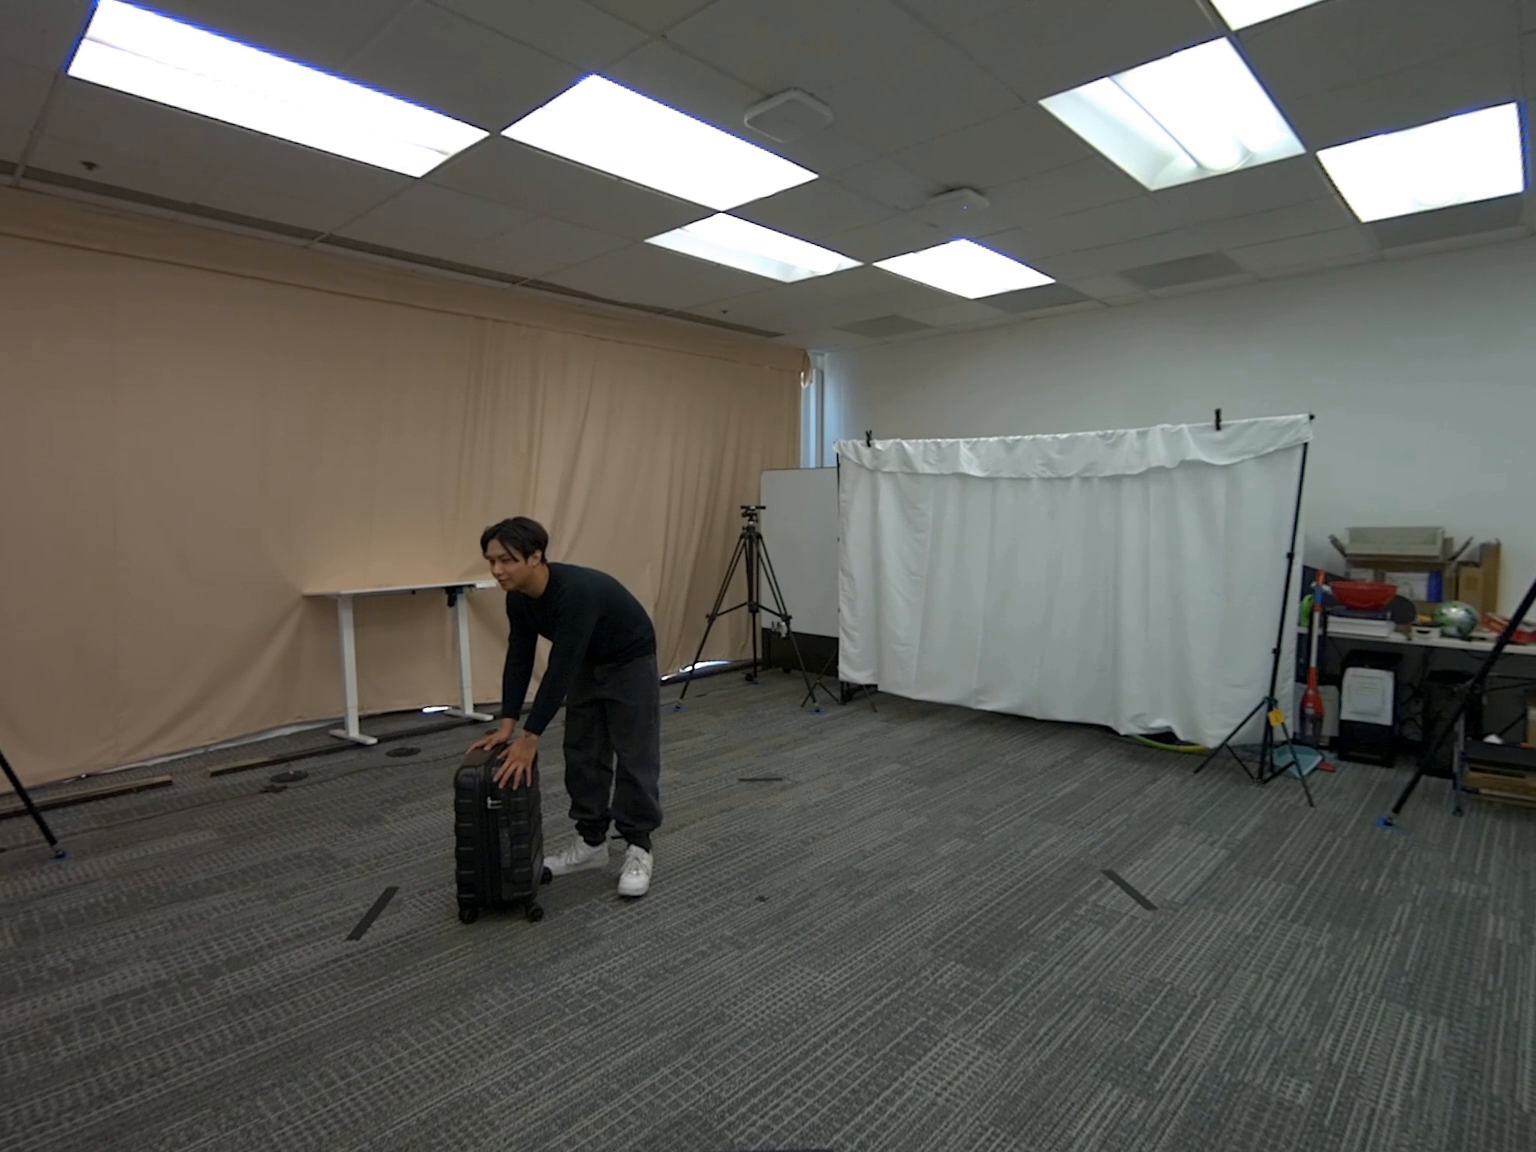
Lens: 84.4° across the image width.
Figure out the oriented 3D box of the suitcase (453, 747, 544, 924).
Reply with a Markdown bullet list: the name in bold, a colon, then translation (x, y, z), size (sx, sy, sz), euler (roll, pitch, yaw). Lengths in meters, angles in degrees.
- **suitcase**: translation (-0.944, 0.879, 2.953), size (0.246, 0.548, 0.379), euler (-1, 3, -8)
